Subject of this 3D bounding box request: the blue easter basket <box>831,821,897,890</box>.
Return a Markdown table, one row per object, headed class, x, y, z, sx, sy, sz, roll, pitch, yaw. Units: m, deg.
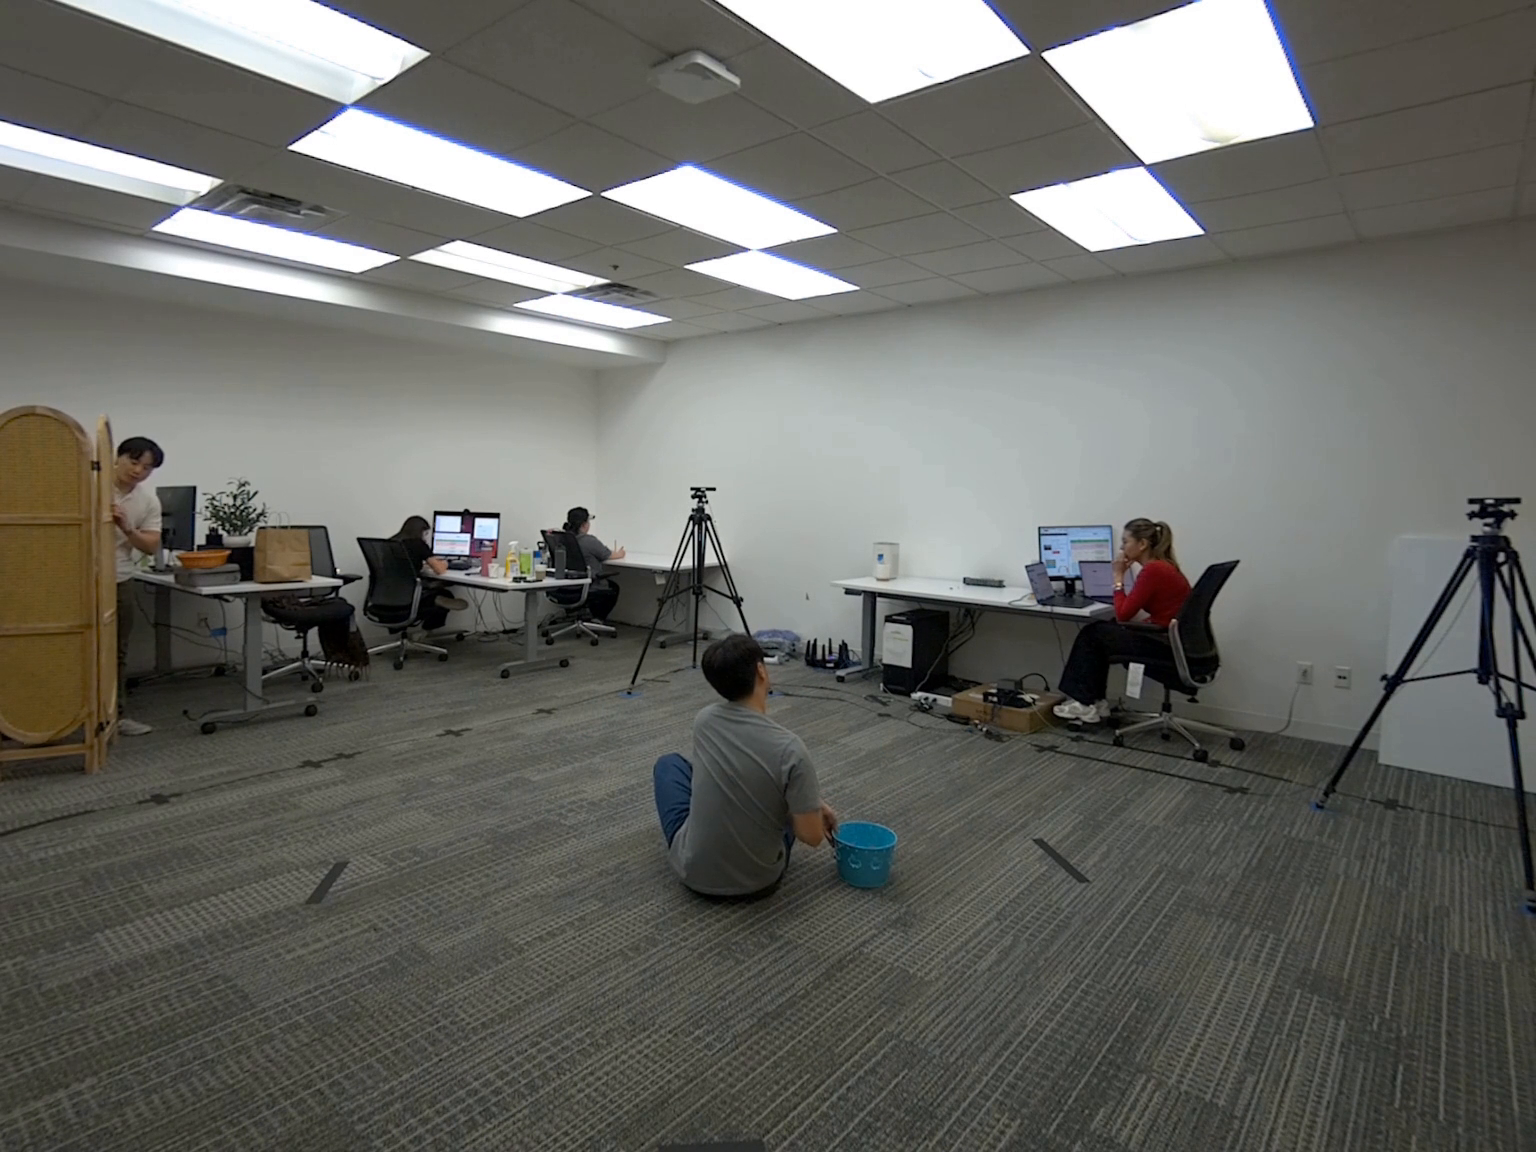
| class | x | y | z | sx | sy | sz | roll | pitch | yaw |
| --- | --- | --- | --- | --- | --- | --- | --- | --- | --- |
| blue easter basket | 0.342 | 1.003 | 3.072 | 0.243 | 0.155 | 0.245 | 1 | 6 | -2 |
